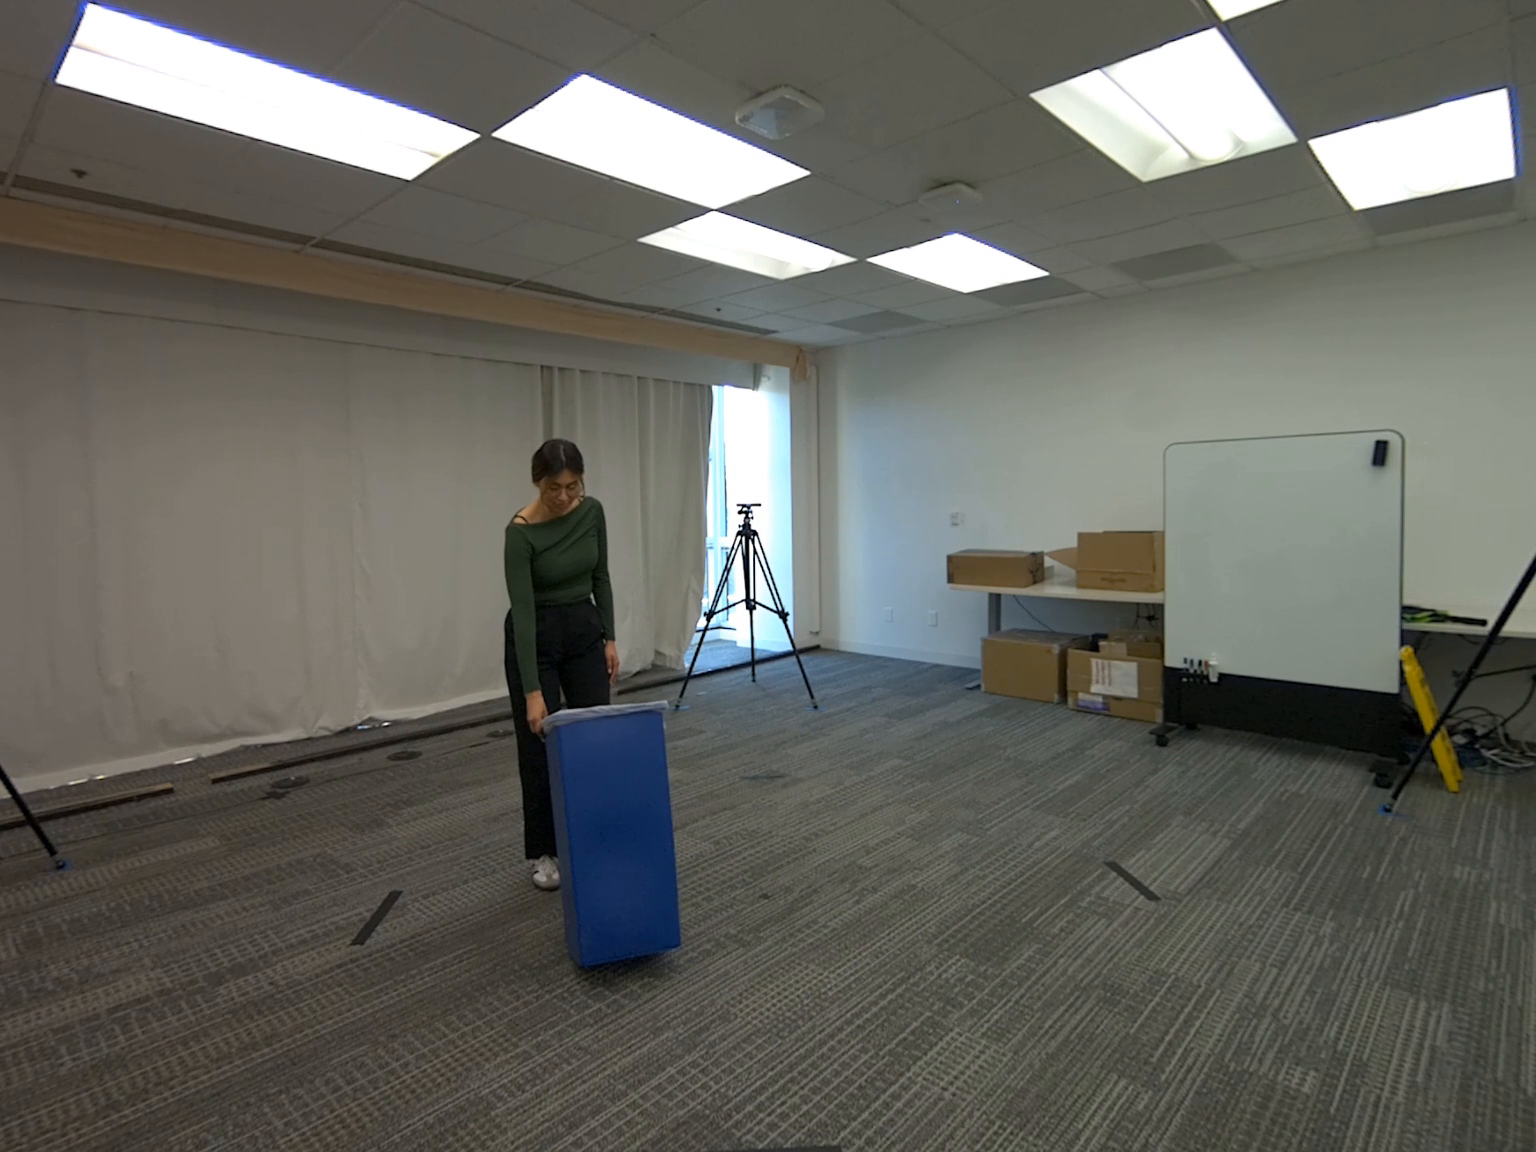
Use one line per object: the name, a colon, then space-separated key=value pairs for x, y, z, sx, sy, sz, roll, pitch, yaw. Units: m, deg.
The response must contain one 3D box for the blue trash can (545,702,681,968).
blue trash can: x=-0.485 y=0.791 z=2.645 sx=0.370 sy=0.721 sz=0.378 roll=-3 pitch=-15 yaw=-21
